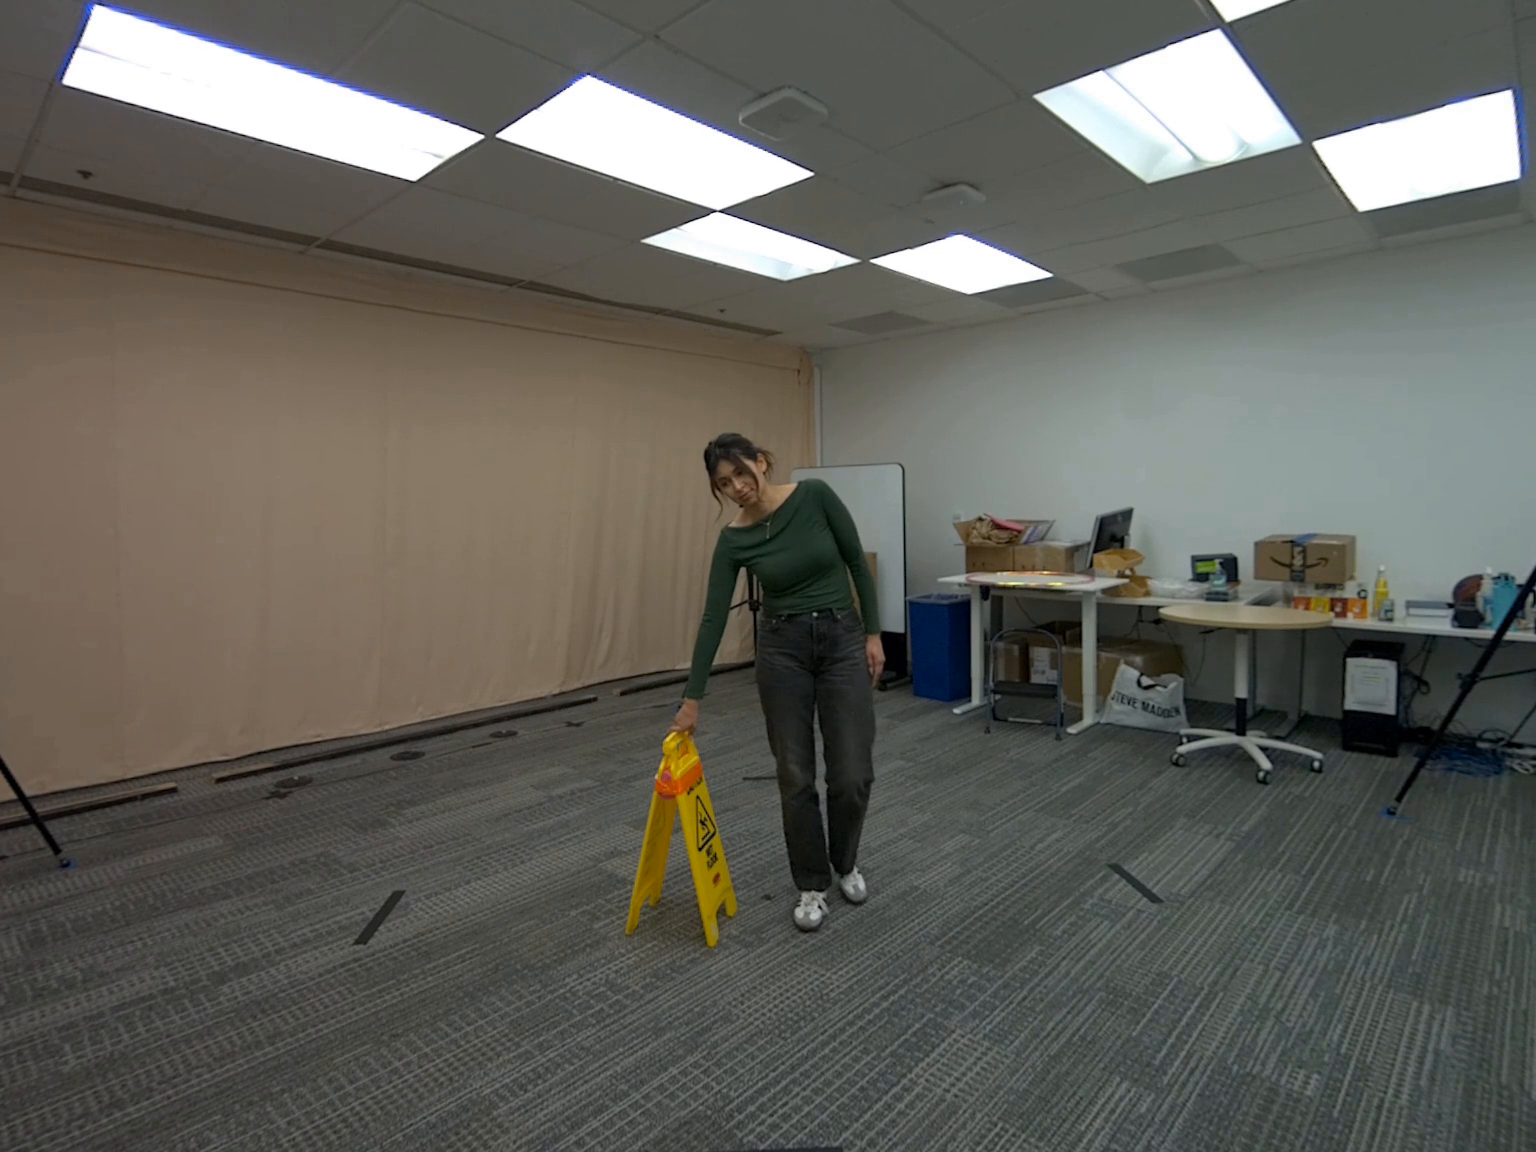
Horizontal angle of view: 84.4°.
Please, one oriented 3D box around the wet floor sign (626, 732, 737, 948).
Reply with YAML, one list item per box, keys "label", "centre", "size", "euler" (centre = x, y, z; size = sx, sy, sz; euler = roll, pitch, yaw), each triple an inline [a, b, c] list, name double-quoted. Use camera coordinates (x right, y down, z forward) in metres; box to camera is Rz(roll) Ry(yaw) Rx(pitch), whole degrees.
- label: "wet floor sign"
  centre: [-0.289, 0.844, 2.803]
  size: [0.295, 0.644, 0.278]
  euler: [0, 5, 17]
